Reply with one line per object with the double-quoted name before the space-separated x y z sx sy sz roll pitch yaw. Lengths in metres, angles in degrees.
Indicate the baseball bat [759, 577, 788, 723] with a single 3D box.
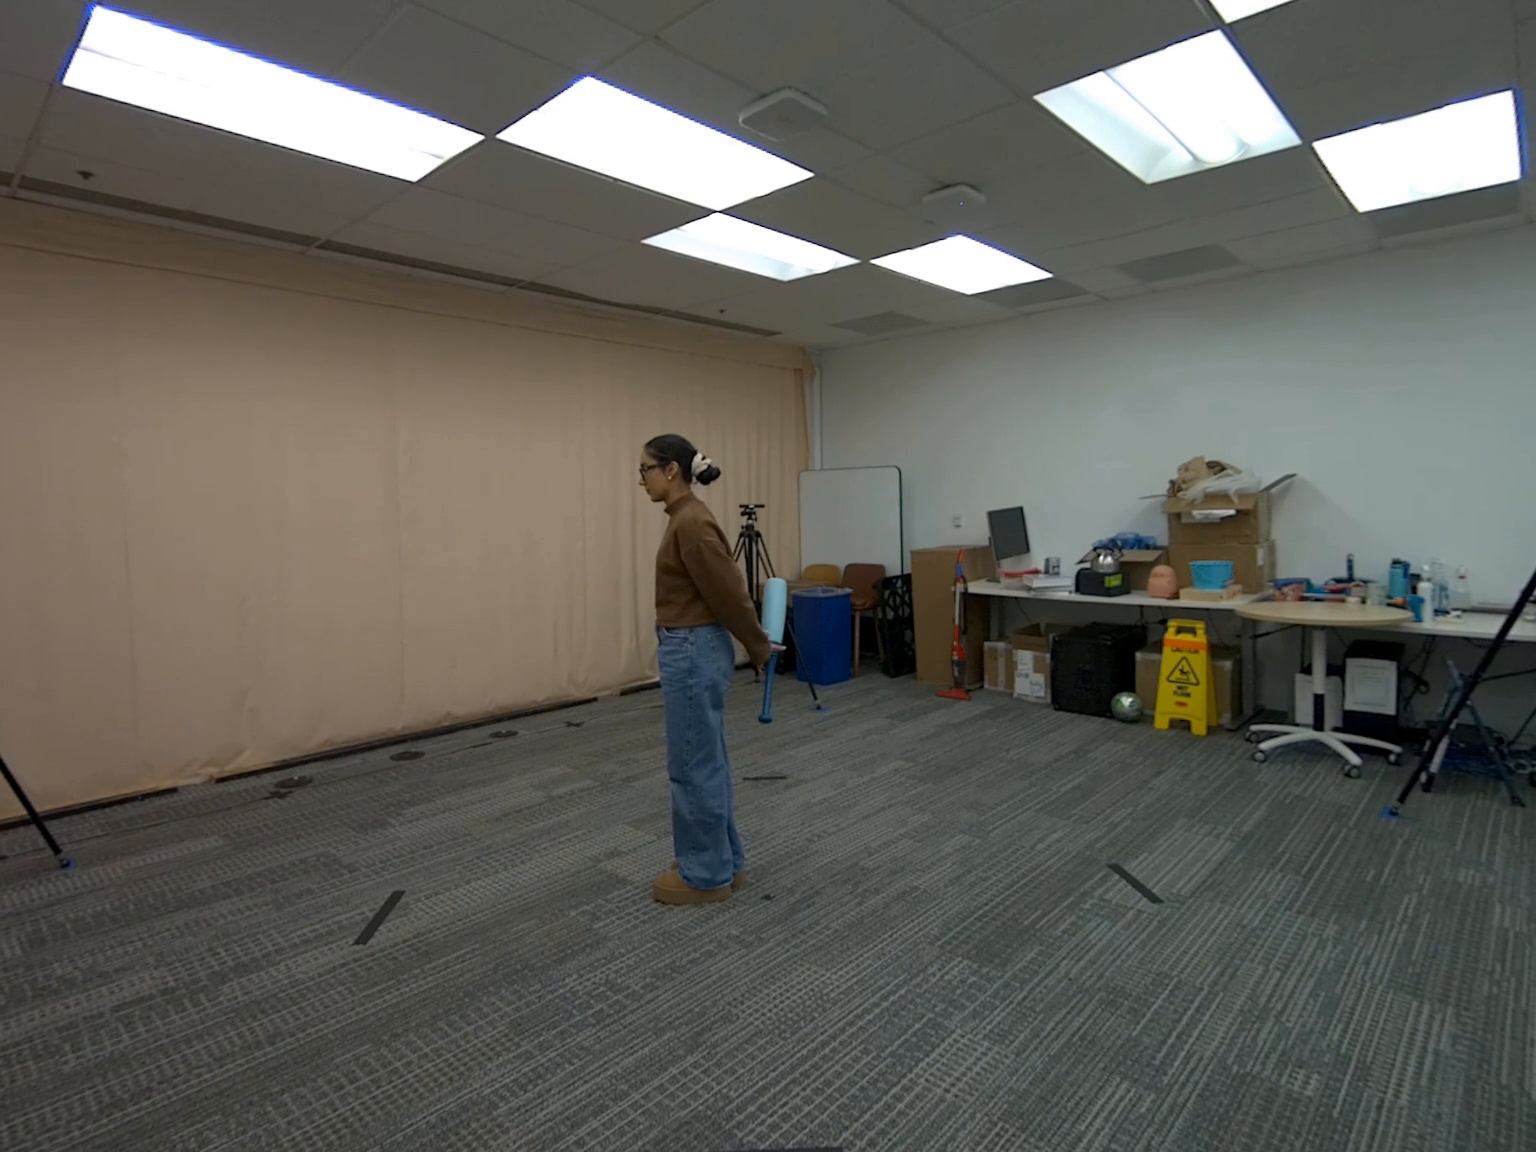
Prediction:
"baseball bat" 0.014 0.273 3.061 0.089 0.549 0.088 6 -24 1
